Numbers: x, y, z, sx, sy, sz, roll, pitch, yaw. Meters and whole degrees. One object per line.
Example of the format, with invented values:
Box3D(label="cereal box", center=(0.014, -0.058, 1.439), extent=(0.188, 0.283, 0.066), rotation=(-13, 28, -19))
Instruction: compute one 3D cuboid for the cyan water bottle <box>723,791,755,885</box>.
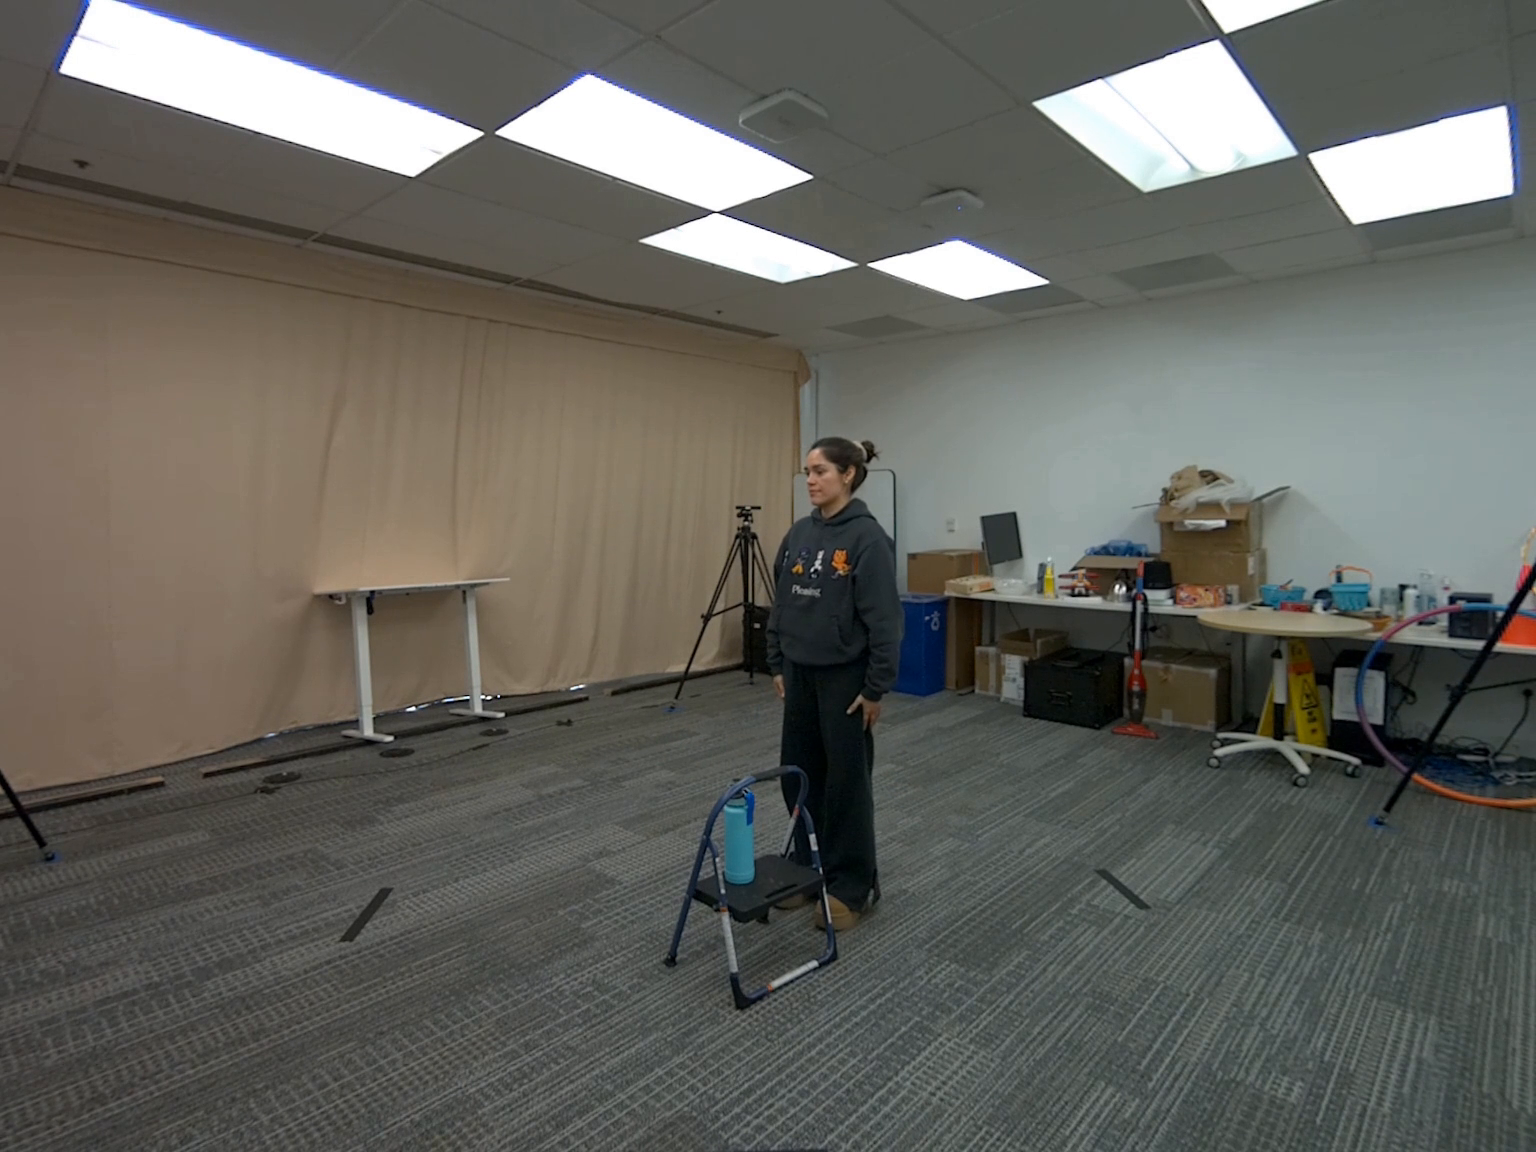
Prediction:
Box3D(label="cyan water bottle", center=(-0.067, 0.779, 2.550), extent=(0.092, 0.283, 0.092), rotation=(-1, 1, -2))
